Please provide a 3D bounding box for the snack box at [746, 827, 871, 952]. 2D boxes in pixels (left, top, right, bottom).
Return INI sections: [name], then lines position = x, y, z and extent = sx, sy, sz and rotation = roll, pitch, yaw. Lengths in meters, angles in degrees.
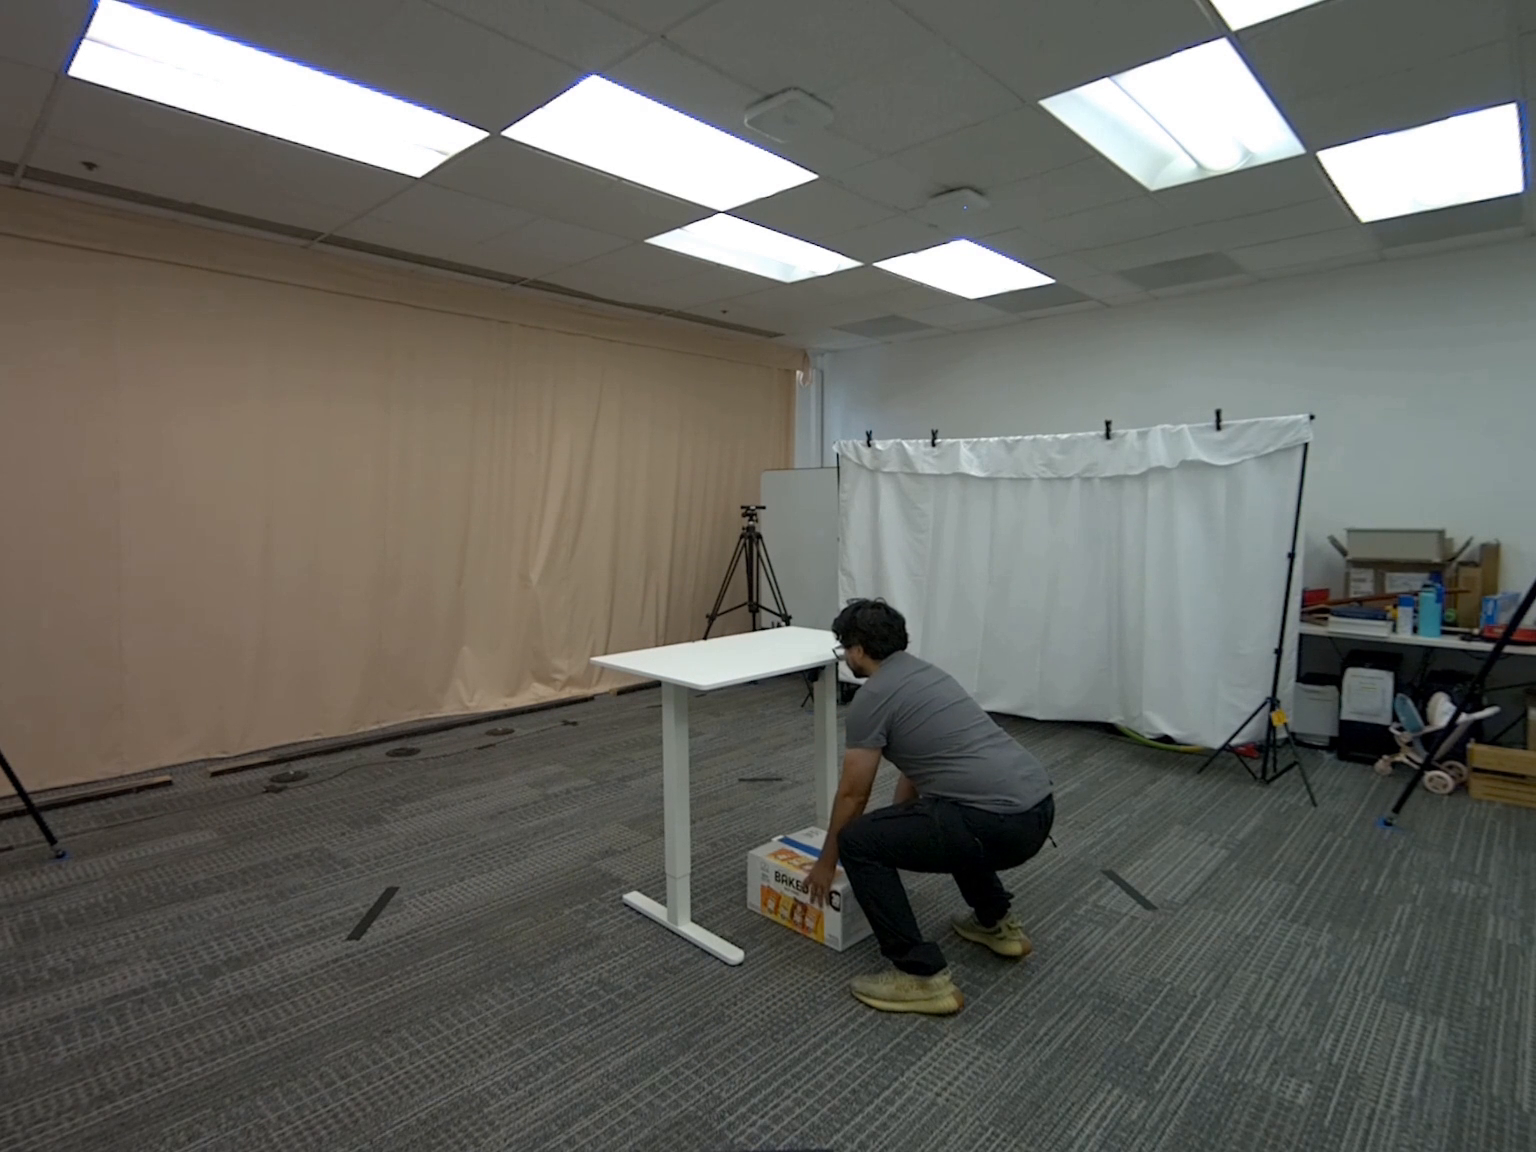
[snack box]
position = 0.198, 1.050, 2.866
extent = 0.330, 0.205, 0.419
rotation = -5, 6, -45
